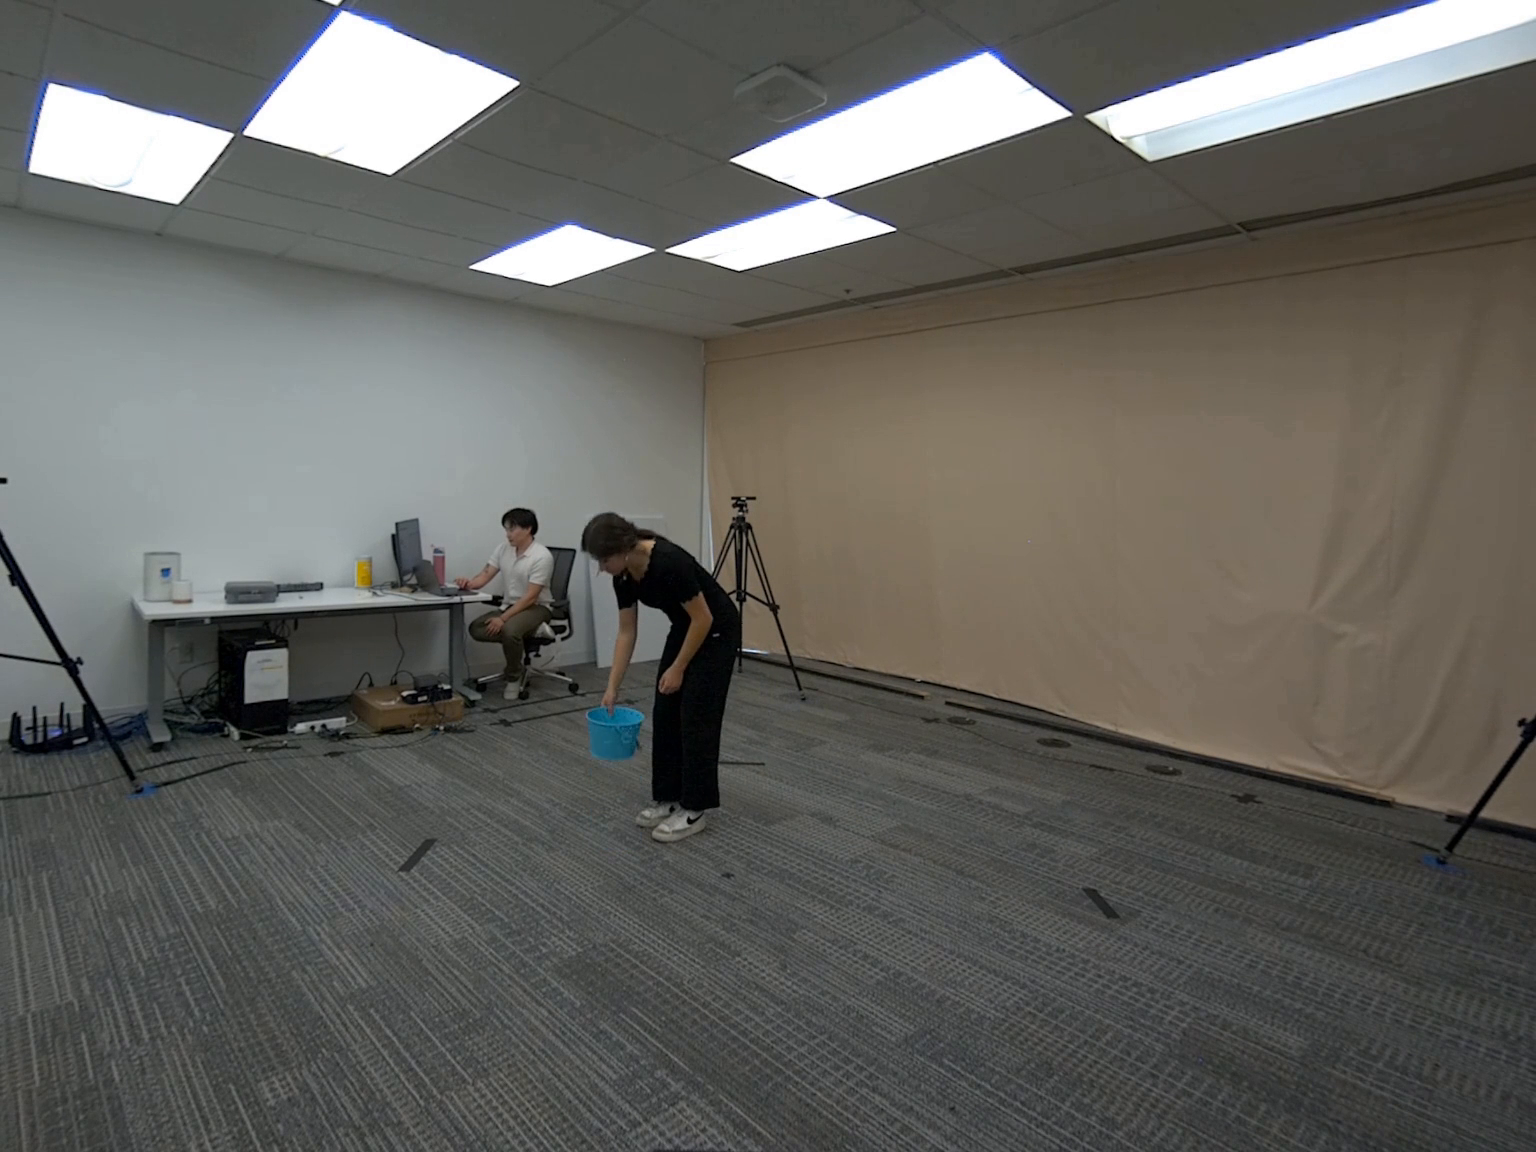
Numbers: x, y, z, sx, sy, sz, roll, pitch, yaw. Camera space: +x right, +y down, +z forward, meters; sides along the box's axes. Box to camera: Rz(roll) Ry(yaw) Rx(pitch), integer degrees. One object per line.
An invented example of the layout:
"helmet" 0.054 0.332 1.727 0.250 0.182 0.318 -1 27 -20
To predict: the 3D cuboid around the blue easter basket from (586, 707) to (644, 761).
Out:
"blue easter basket" -0.626 0.647 3.415 0.243 0.155 0.245 6 8 -2
